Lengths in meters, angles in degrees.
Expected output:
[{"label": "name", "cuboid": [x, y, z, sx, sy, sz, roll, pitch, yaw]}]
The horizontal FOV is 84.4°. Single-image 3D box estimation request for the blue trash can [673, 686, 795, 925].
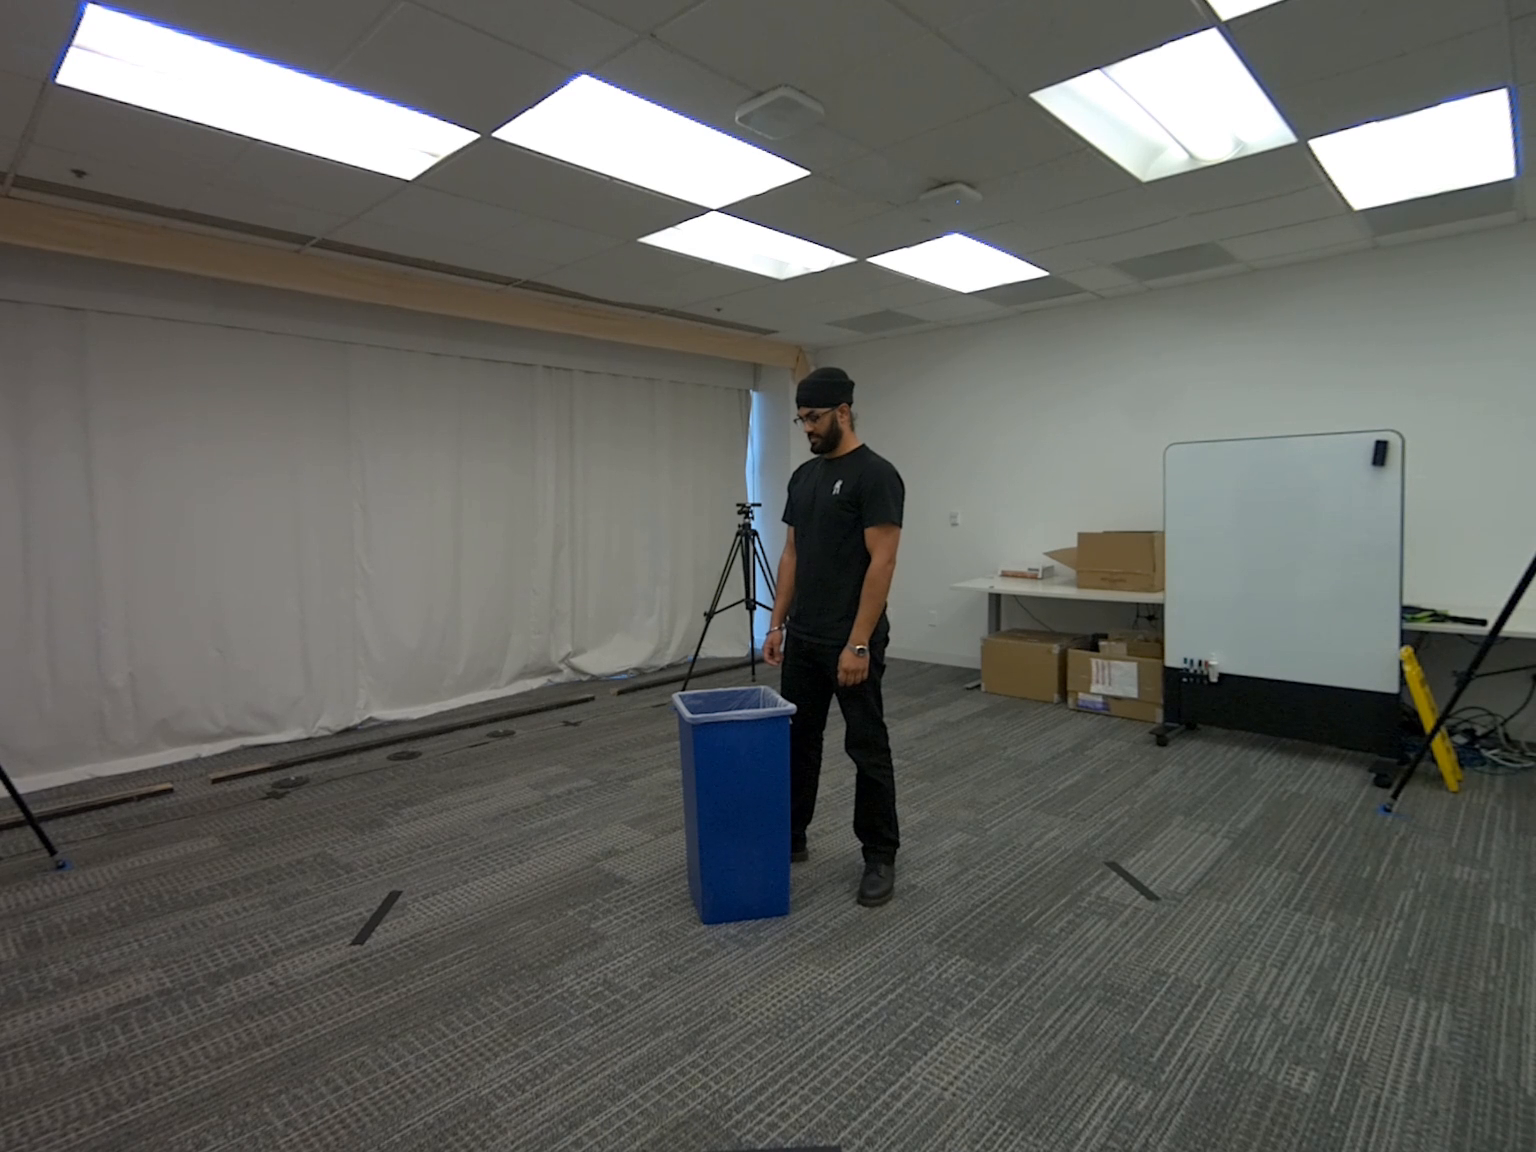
[{"label": "blue trash can", "cuboid": [-0.110, 0.781, 2.946, 0.369, 0.712, 0.384, -3, 4, -13]}]
